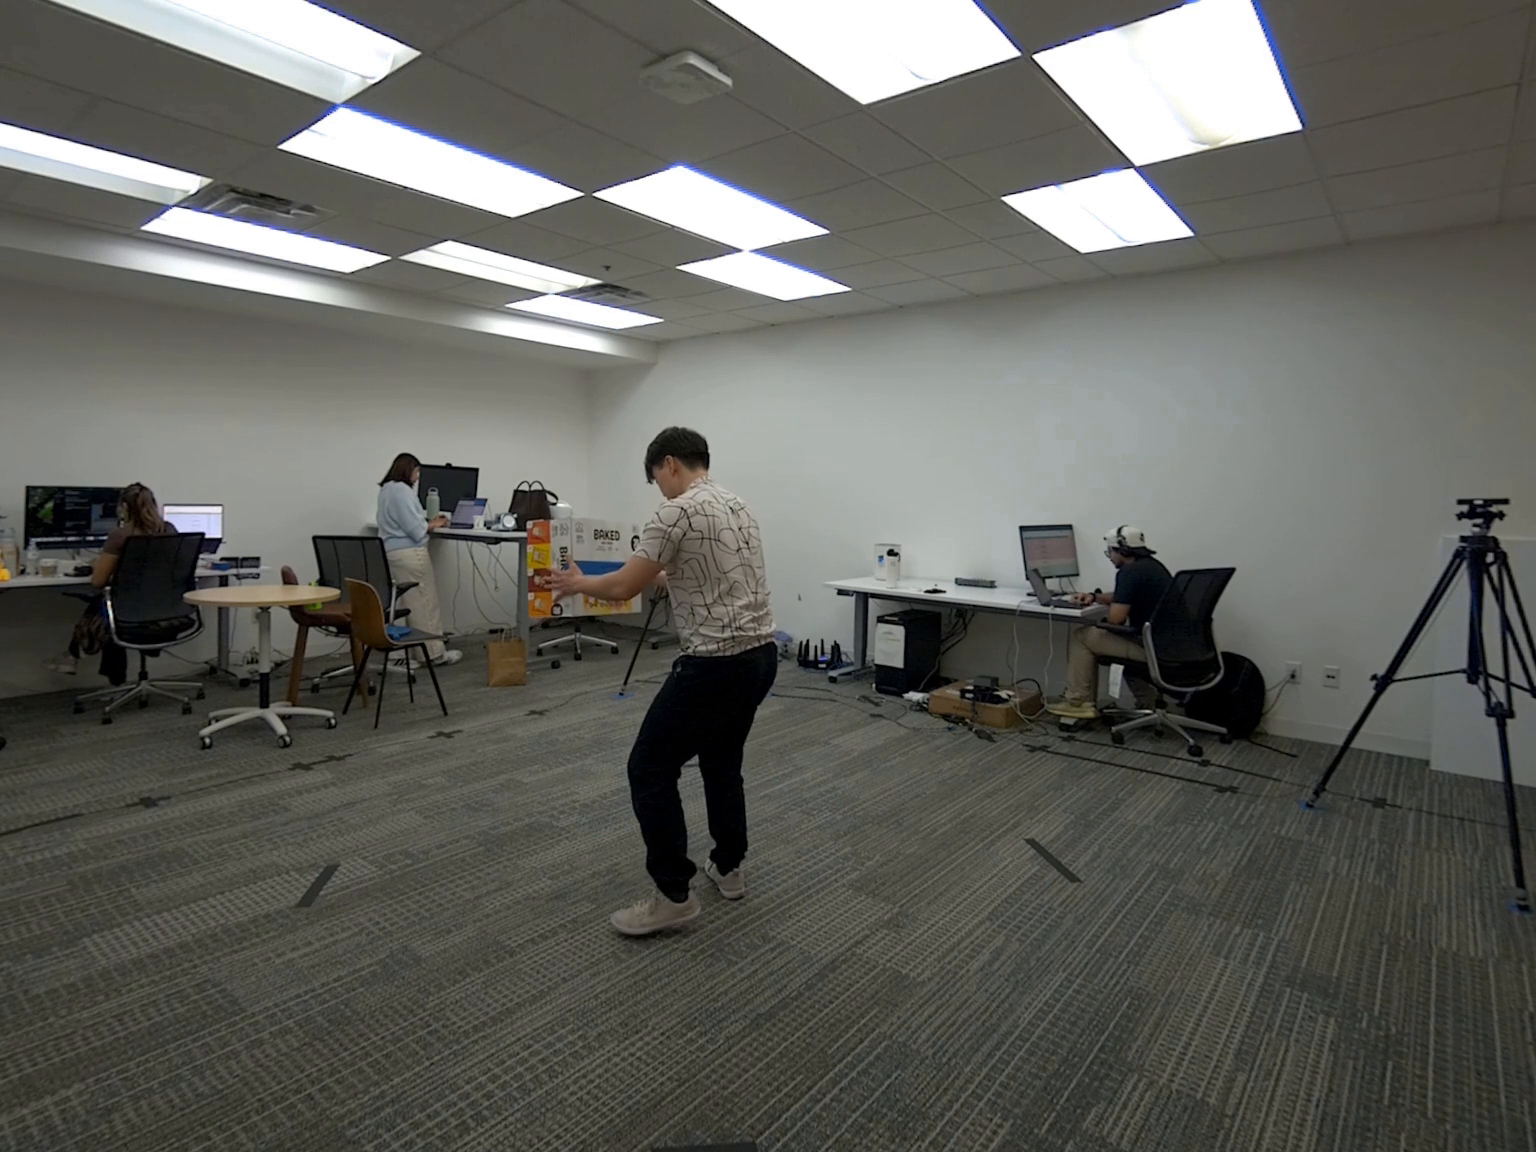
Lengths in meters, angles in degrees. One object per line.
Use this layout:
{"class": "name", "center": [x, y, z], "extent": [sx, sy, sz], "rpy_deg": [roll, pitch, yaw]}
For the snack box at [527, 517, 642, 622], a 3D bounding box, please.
{"class": "snack box", "center": [-0.683, -0.029, 3.110], "extent": [0.211, 0.341, 0.393], "rpy_deg": [-3, -3, 29]}
